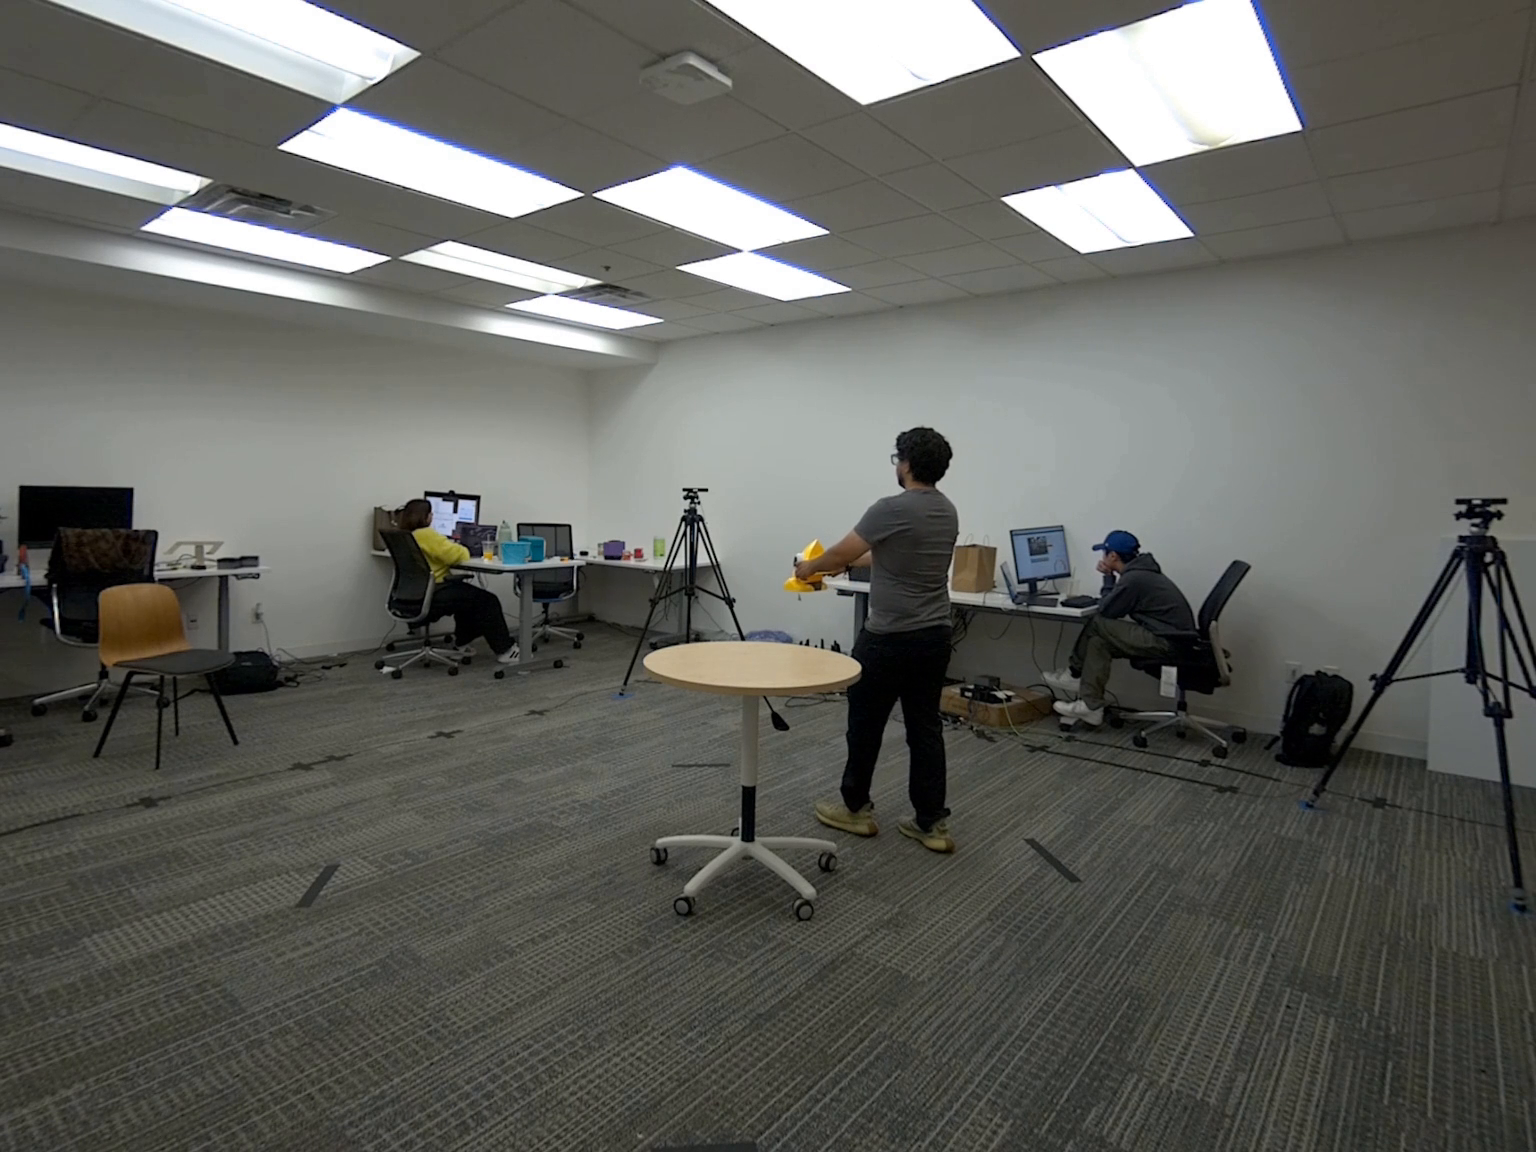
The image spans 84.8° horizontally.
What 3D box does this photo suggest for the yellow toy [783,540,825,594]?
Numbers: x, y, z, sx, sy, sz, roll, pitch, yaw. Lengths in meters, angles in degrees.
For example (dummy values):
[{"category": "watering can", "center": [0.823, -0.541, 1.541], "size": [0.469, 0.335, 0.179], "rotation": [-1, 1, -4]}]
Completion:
[{"category": "yellow toy", "center": [0.163, -0.059, 3.857], "size": [0.199, 0.230, 0.200], "rotation": [-3, 7, -43]}]
